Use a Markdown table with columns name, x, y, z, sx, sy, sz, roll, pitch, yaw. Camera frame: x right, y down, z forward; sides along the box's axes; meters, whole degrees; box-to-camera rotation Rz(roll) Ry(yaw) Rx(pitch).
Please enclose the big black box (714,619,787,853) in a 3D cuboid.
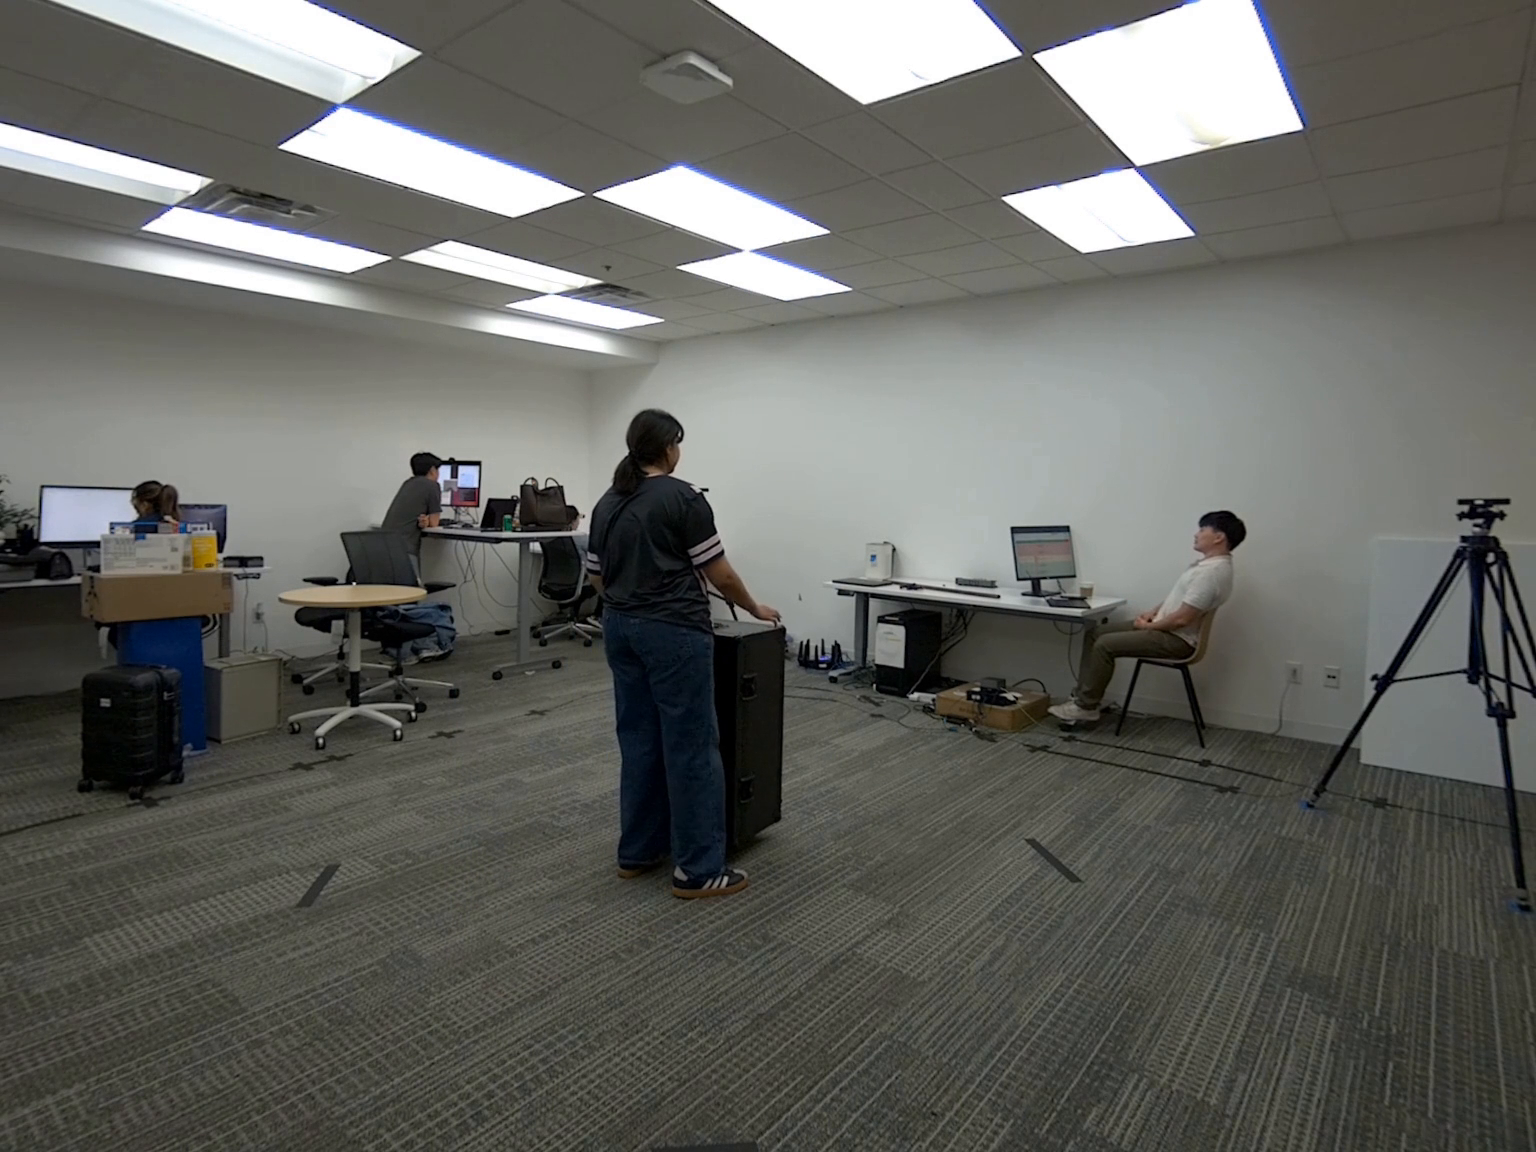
| name | x | y | z | sx | sy | sz | roll | pitch | yaw |
| --- | --- | --- | --- | --- | --- | --- | --- | --- | --- |
| big black box | -0.250 | 0.620 | 3.392 | 0.540 | 0.866 | 0.374 | 4 | 3 | 33 |
